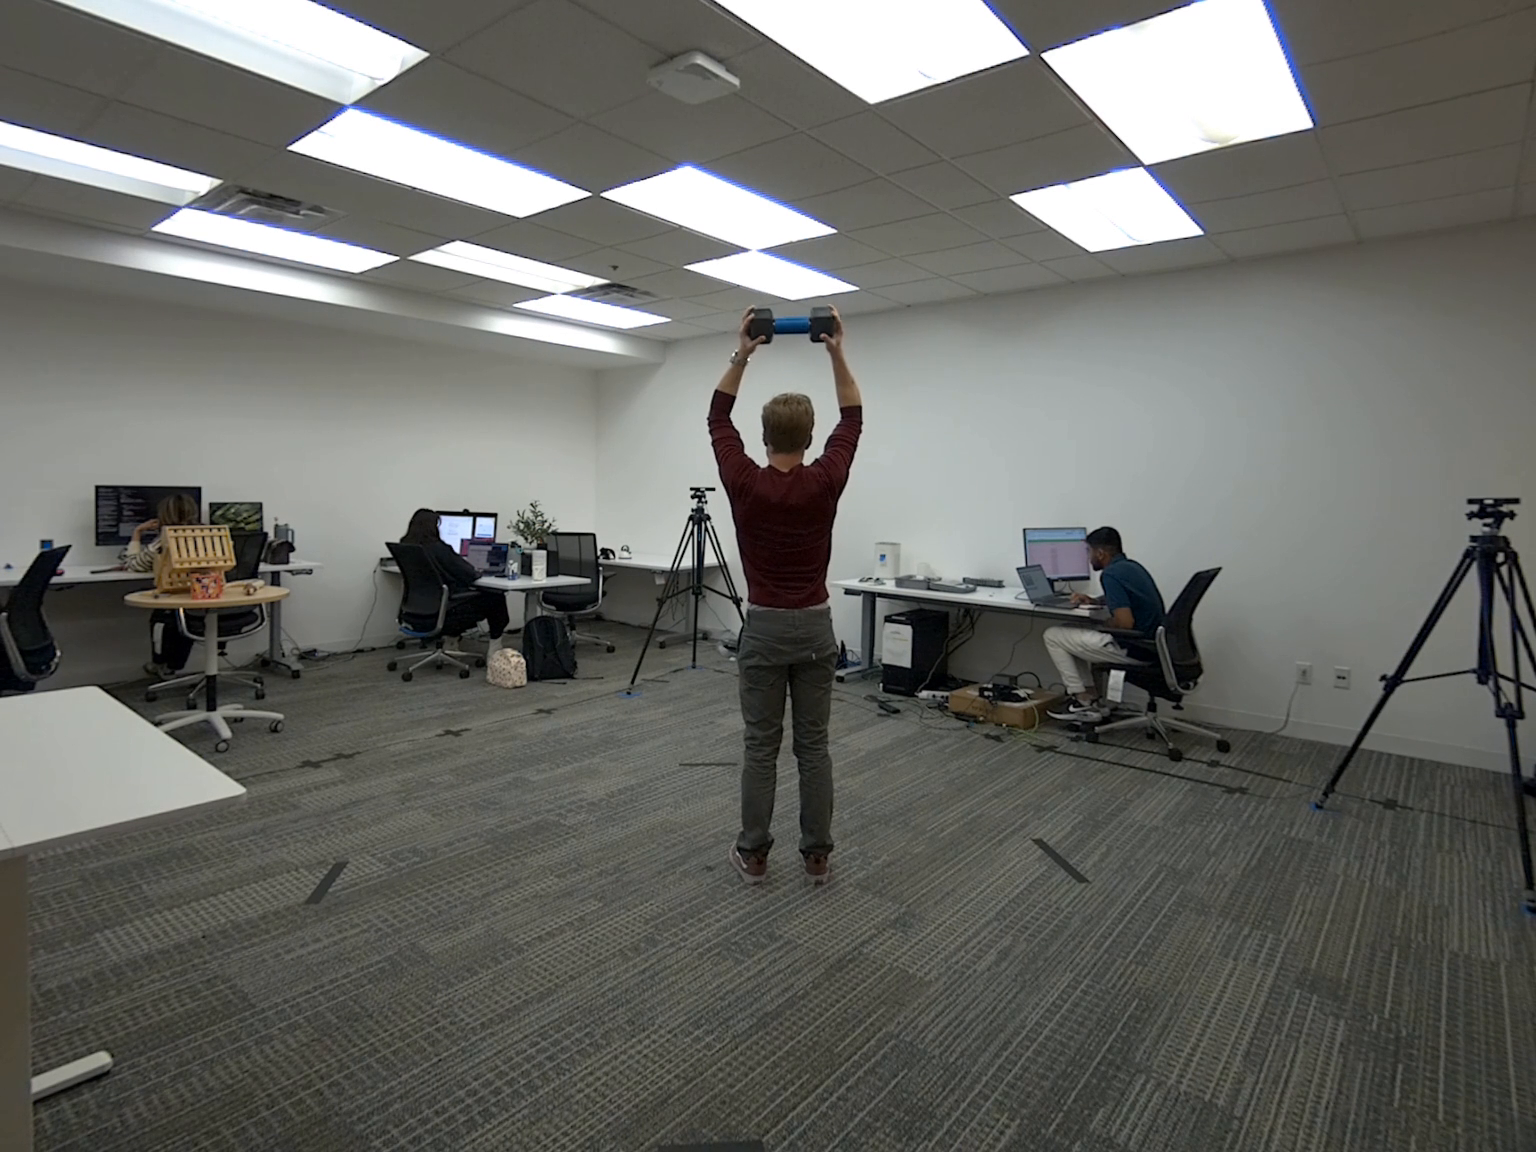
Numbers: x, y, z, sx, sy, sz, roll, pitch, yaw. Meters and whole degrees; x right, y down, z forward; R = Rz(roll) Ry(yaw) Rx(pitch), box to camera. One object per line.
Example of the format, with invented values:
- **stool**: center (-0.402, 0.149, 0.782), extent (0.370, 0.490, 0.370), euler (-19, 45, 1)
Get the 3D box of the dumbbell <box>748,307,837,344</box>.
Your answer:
- **dumbbell**: center (0.080, -0.878, 2.975), extent (0.292, 0.110, 0.122), euler (0, -12, -3)
